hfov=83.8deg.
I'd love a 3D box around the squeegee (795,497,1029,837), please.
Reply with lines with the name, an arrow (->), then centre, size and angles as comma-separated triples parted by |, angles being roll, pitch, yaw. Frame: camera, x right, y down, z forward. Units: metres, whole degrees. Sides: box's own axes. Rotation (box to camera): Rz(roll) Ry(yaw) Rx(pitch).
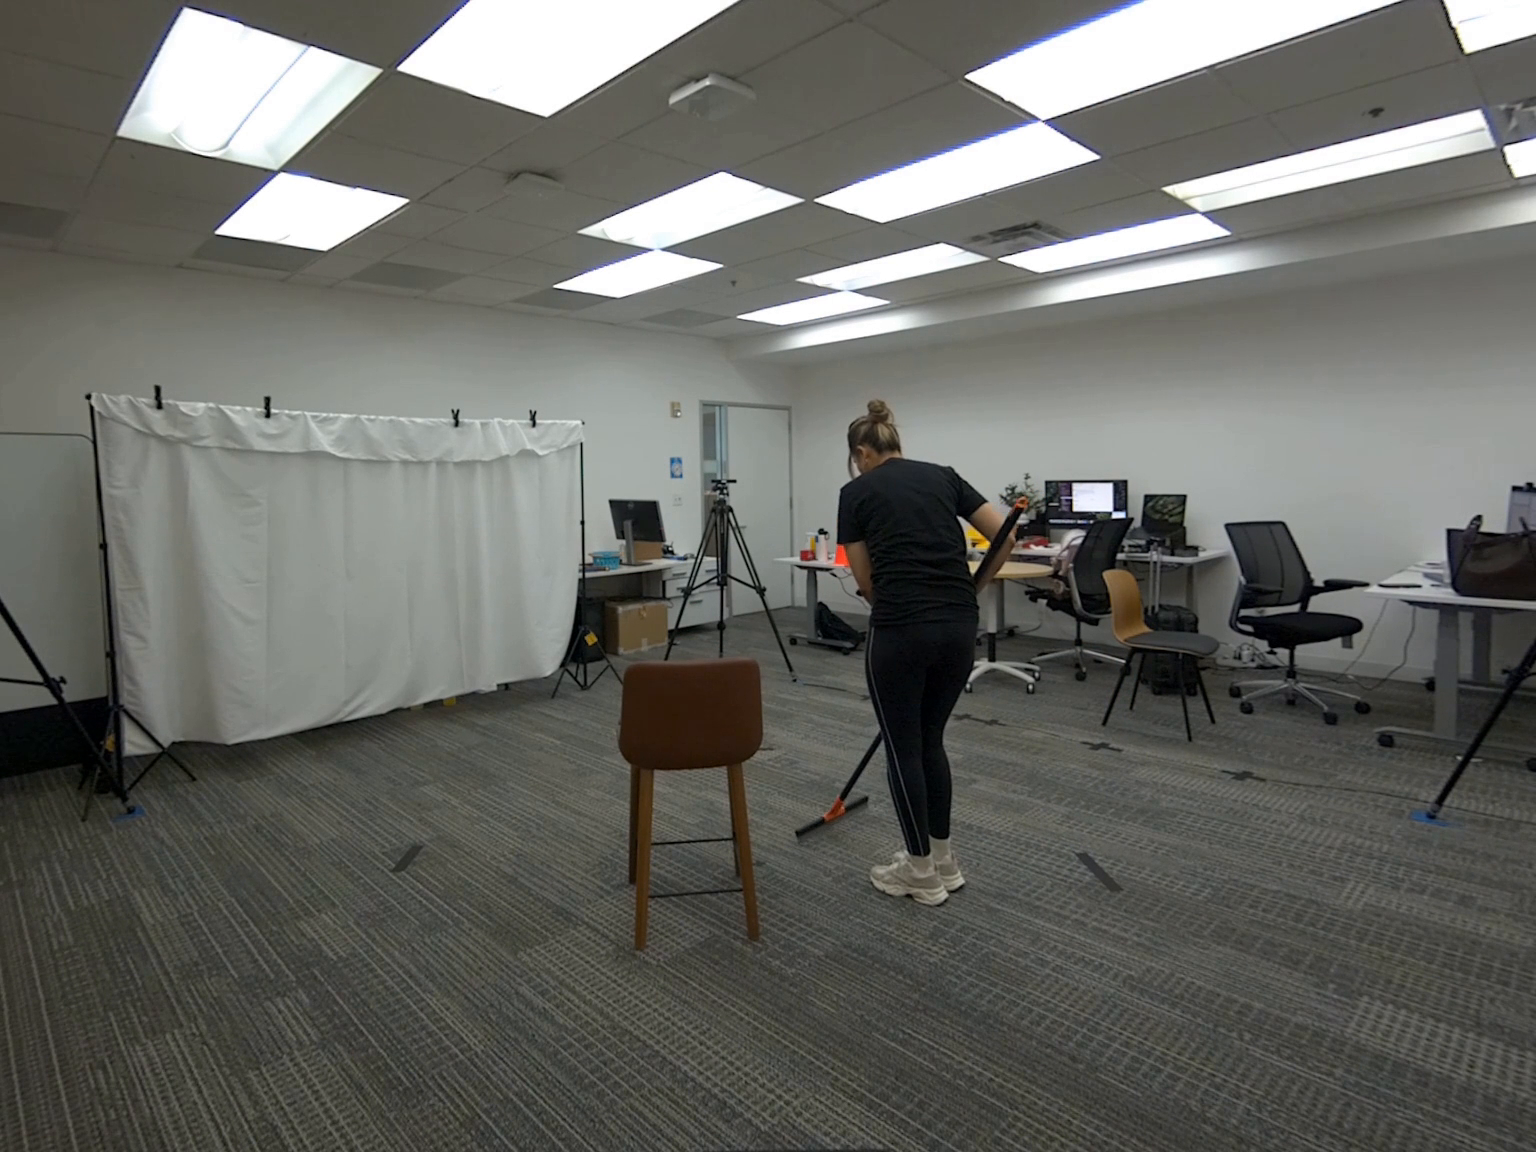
squeegee -> 0.547, 0.362, 3.051 | 0.426, 1.523, 0.055 | -9, 45, -49
